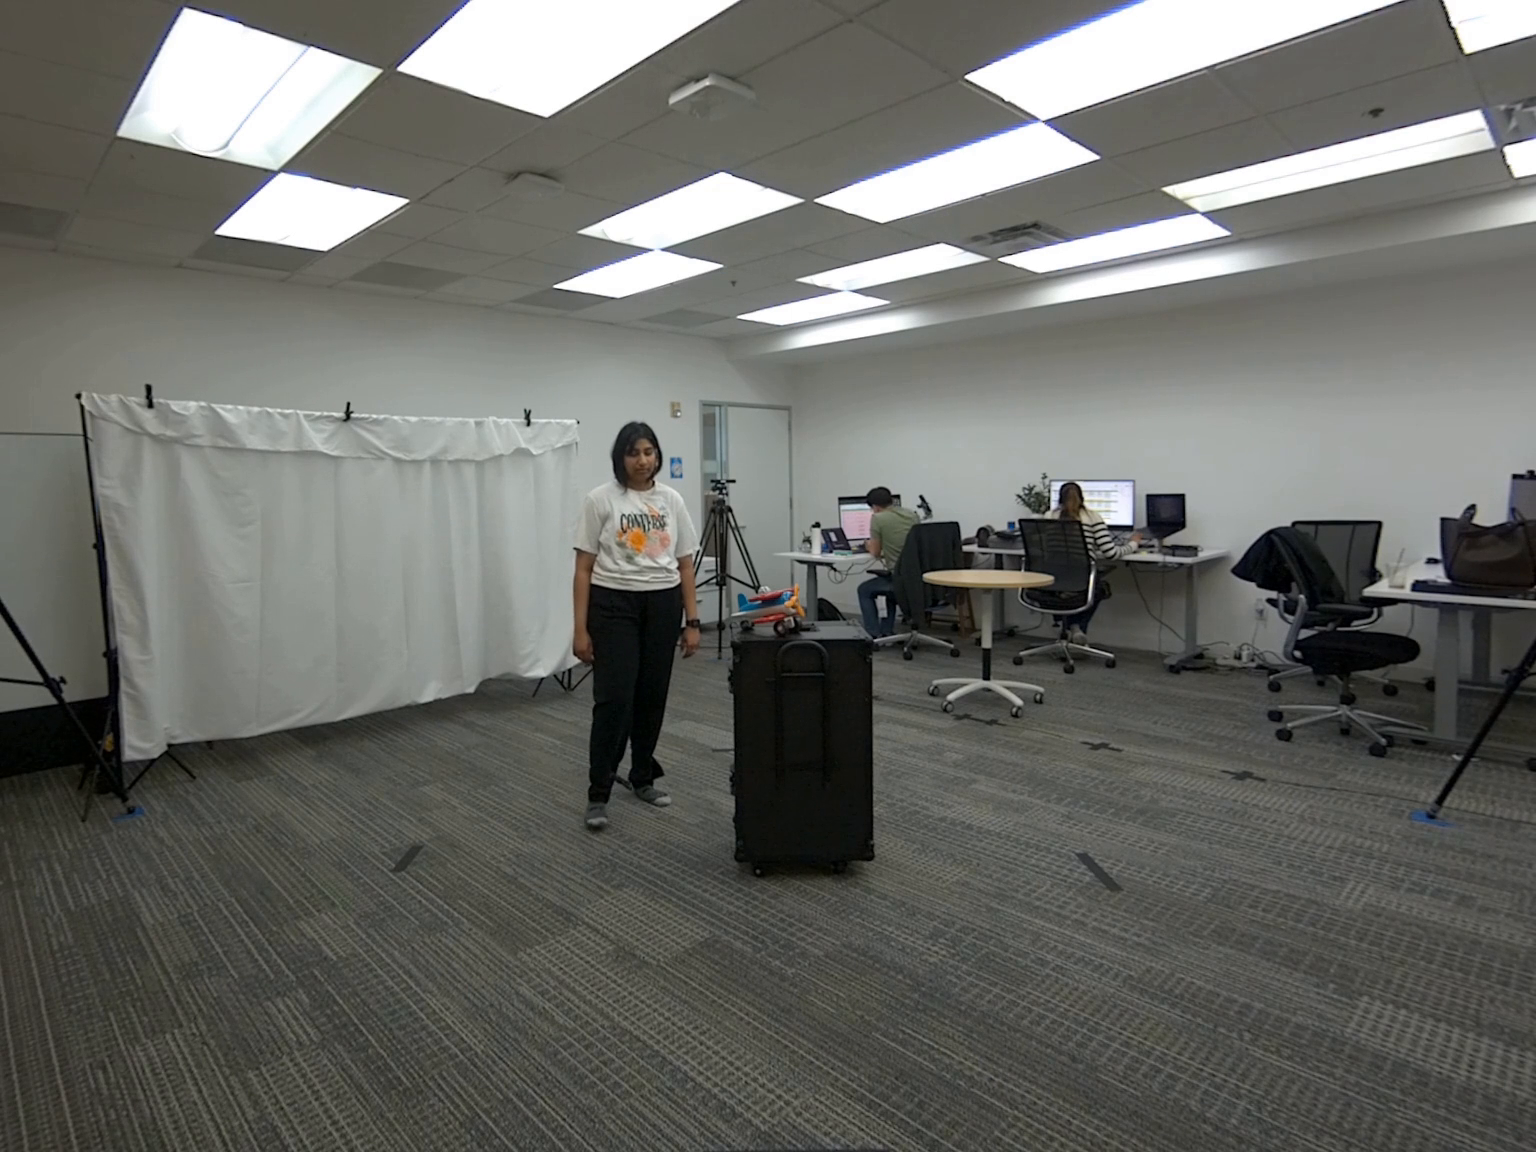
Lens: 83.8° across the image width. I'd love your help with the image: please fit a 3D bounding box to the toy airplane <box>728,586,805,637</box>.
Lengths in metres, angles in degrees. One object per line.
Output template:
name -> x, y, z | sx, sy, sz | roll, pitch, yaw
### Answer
toy airplane -> 0.001, 0.122, 3.057 | 0.261, 0.156, 0.250 | 0, 6, 6
